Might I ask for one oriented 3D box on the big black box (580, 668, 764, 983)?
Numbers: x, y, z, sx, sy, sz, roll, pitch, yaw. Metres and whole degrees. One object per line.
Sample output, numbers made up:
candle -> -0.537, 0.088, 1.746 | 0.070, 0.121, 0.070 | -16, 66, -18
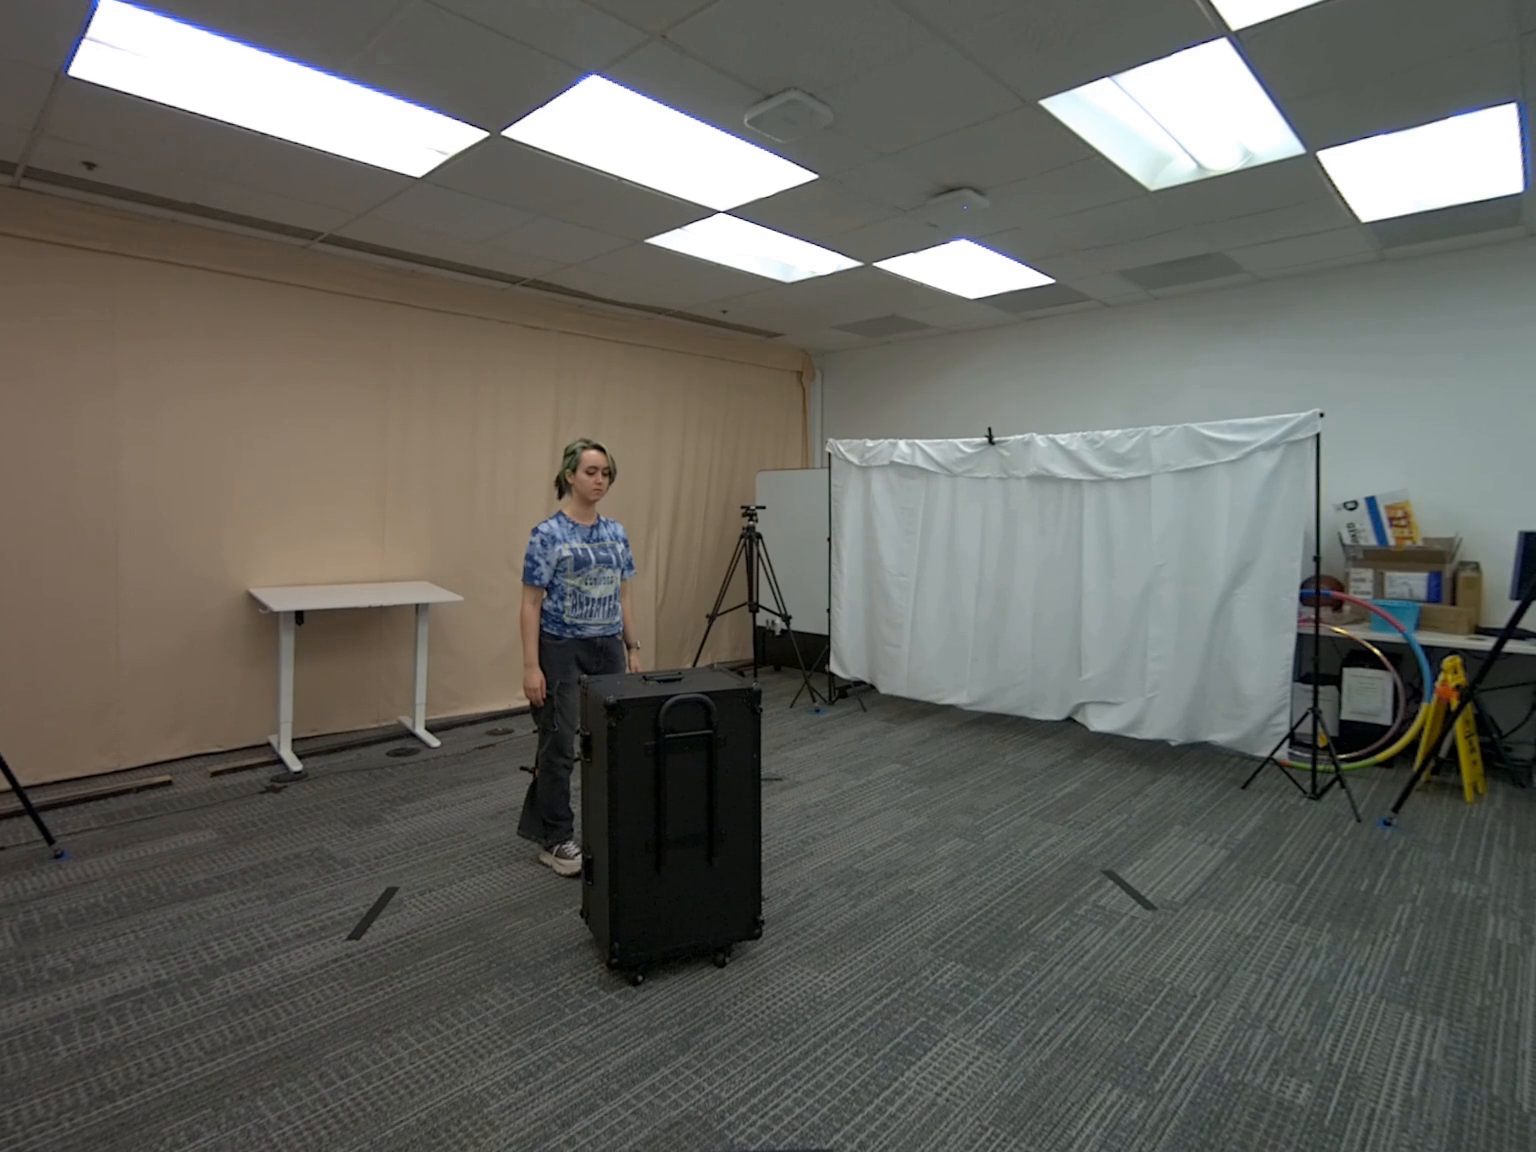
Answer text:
big black box -> -0.311, 0.689, 2.615 | 0.509, 0.860, 0.406 | -1, 4, -24
